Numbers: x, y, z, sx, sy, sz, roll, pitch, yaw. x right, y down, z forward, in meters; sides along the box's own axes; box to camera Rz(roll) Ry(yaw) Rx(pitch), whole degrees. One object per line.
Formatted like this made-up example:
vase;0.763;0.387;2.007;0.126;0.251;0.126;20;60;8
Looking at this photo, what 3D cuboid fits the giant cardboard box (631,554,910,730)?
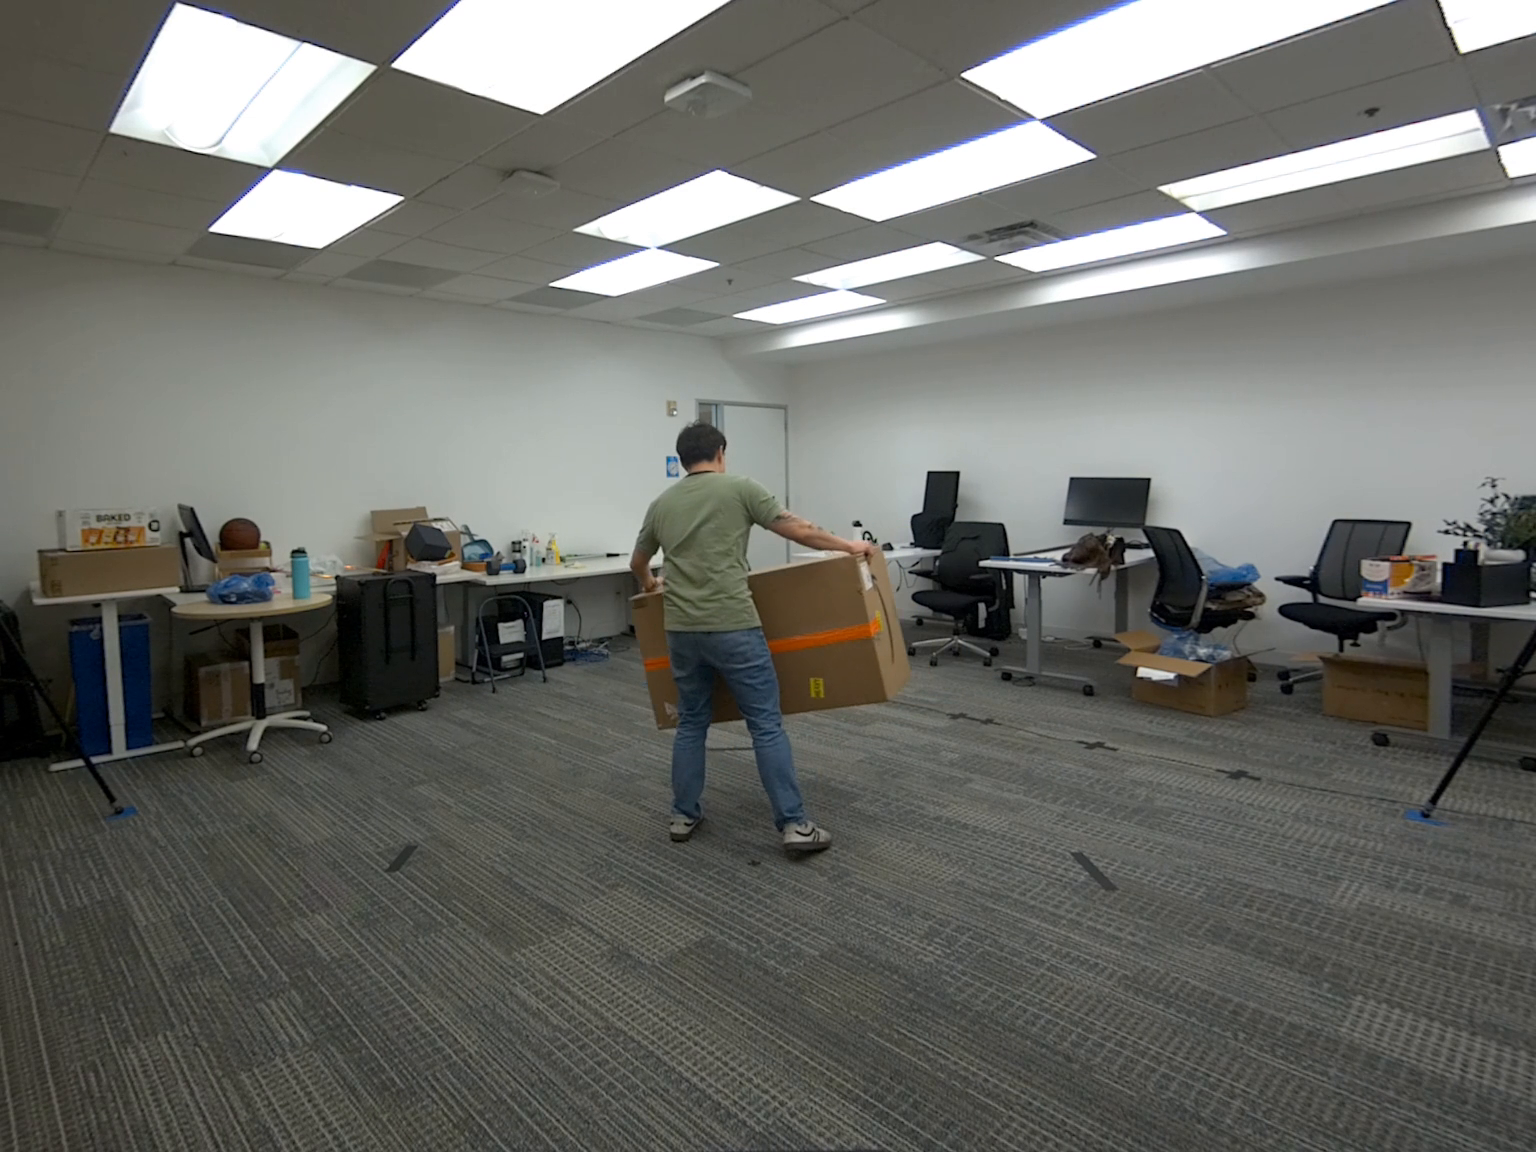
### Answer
giant cardboard box;0.008;0.262;3.639;1.043;0.577;0.419;-11;1;24
